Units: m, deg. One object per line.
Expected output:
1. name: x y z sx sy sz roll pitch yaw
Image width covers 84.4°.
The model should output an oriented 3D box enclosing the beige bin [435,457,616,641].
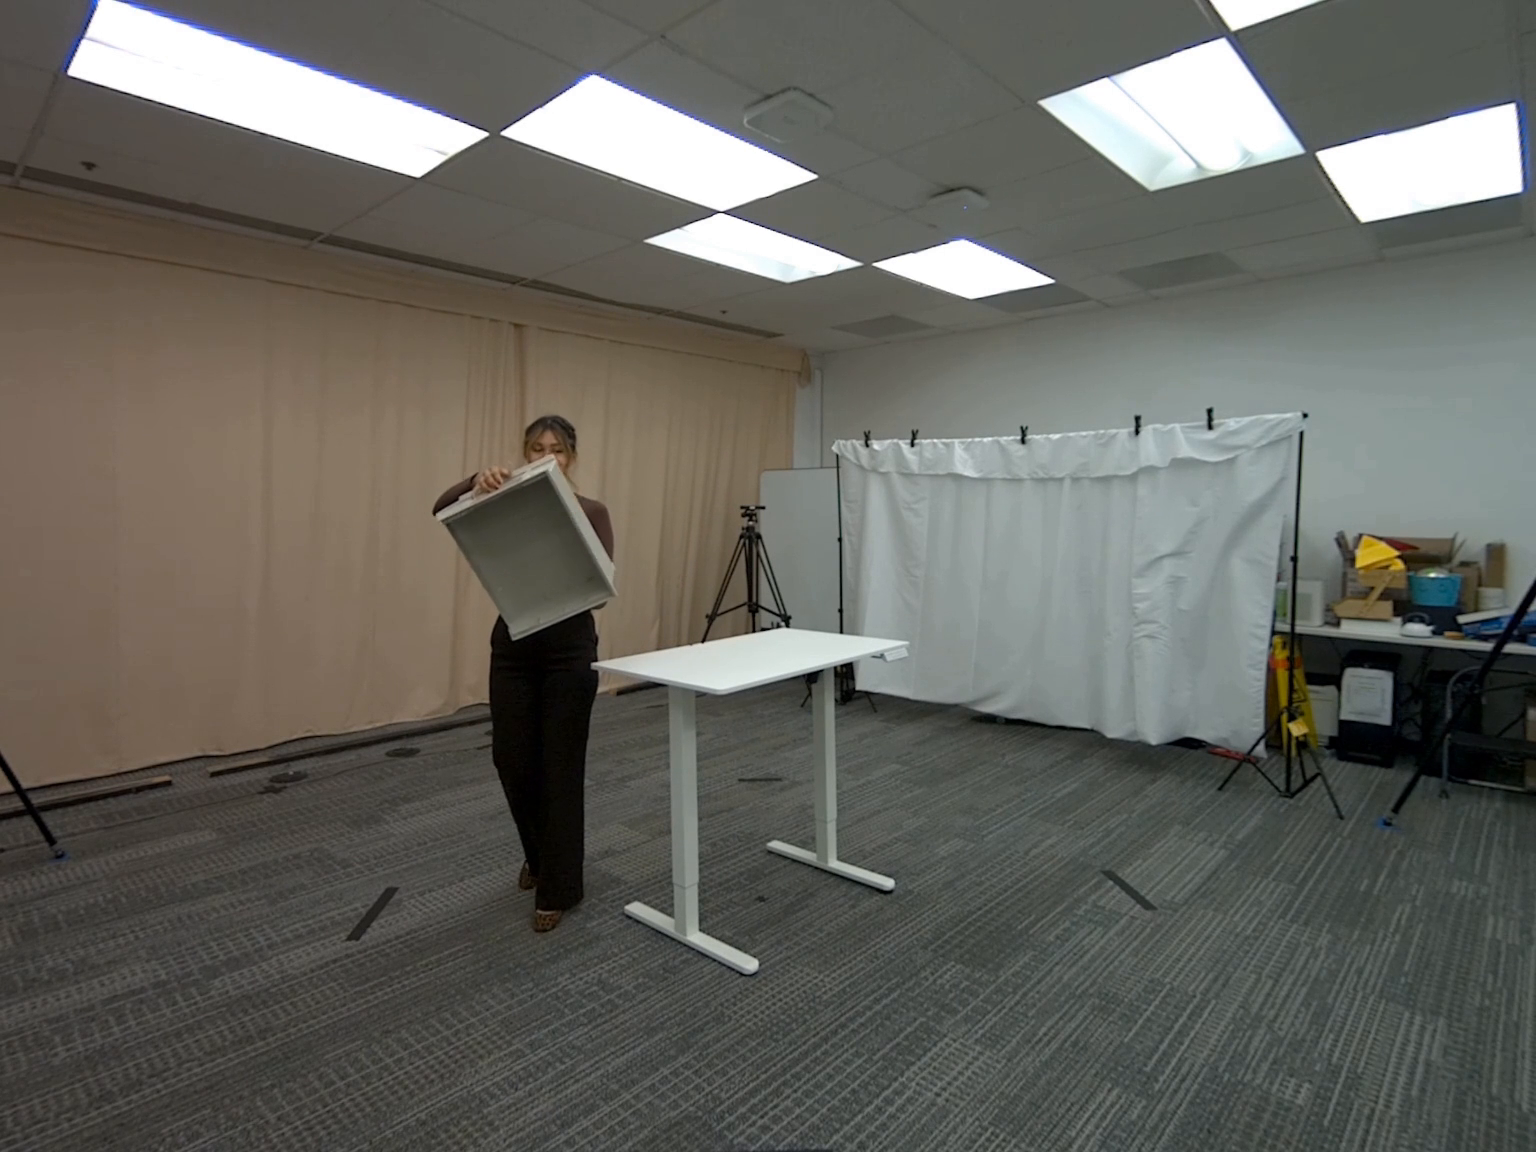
1. beige bin: -0.696 -0.076 2.450 0.379 0.413 0.192 -24 22 4
